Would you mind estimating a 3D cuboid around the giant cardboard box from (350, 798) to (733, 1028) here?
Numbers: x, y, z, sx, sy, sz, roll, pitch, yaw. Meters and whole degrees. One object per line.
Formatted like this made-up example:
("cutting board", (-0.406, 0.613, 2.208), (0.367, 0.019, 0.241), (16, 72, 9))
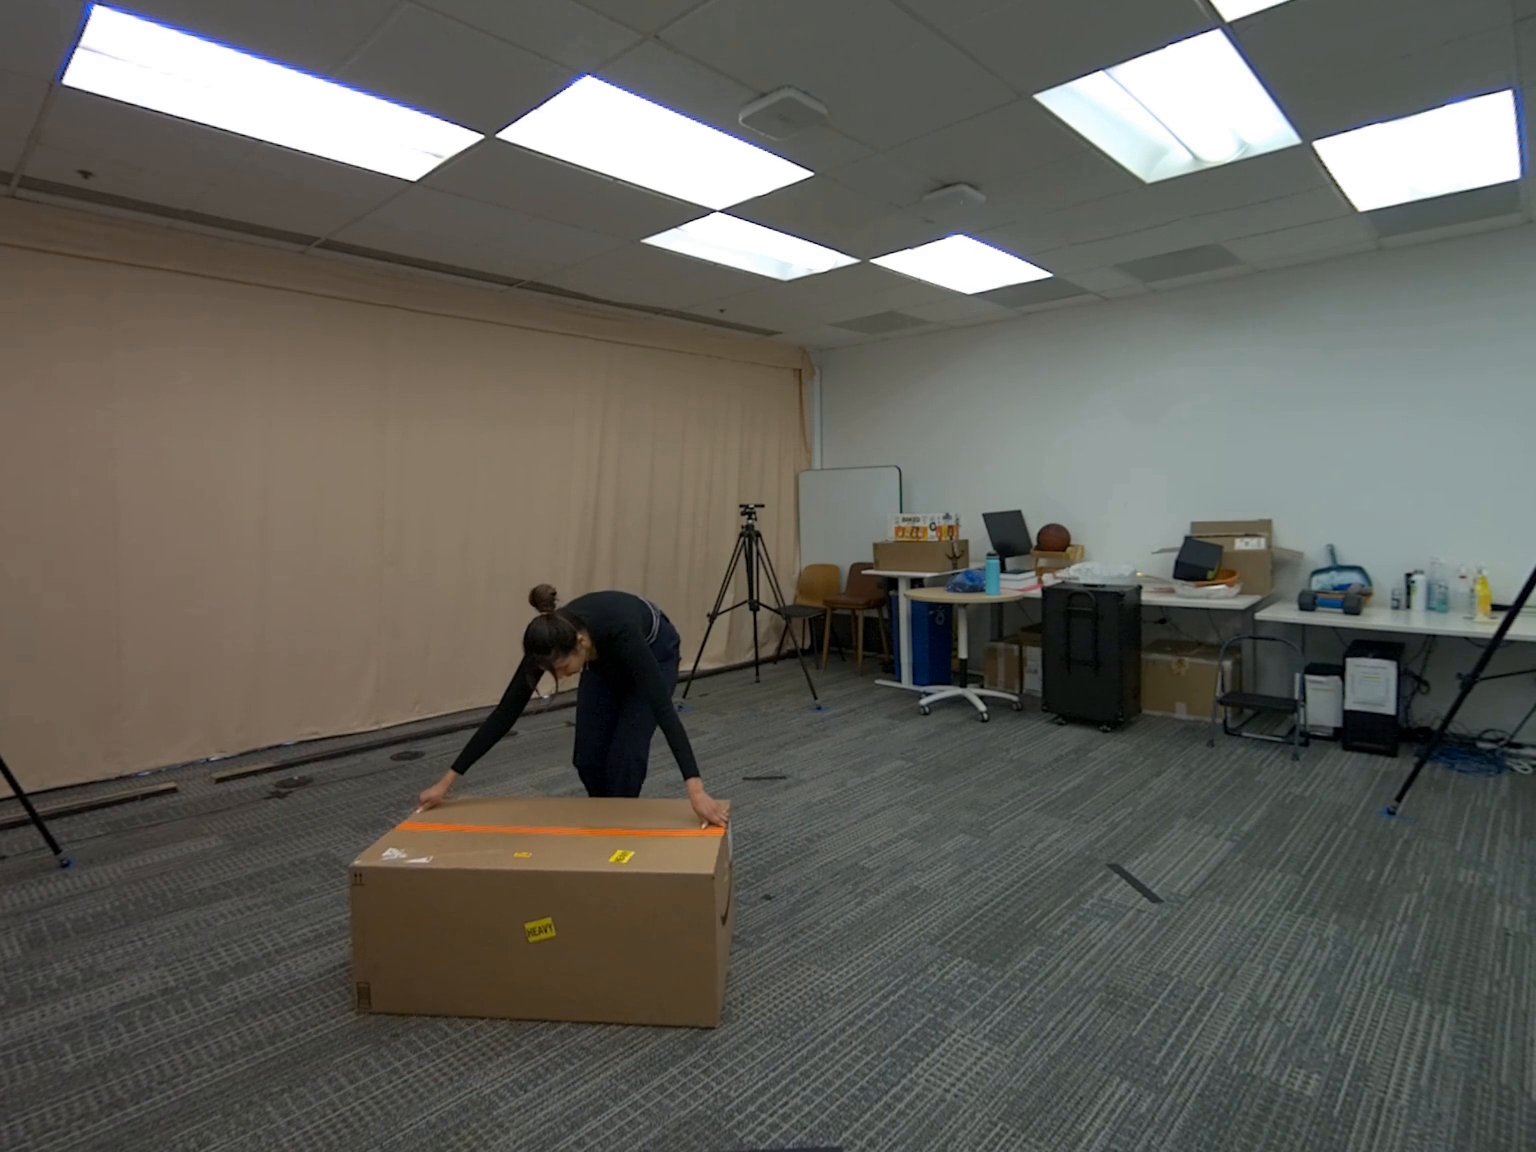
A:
("giant cardboard box", (-0.633, 0.975, 2.559), (1.032, 0.425, 0.575), (-1, 4, 5))
